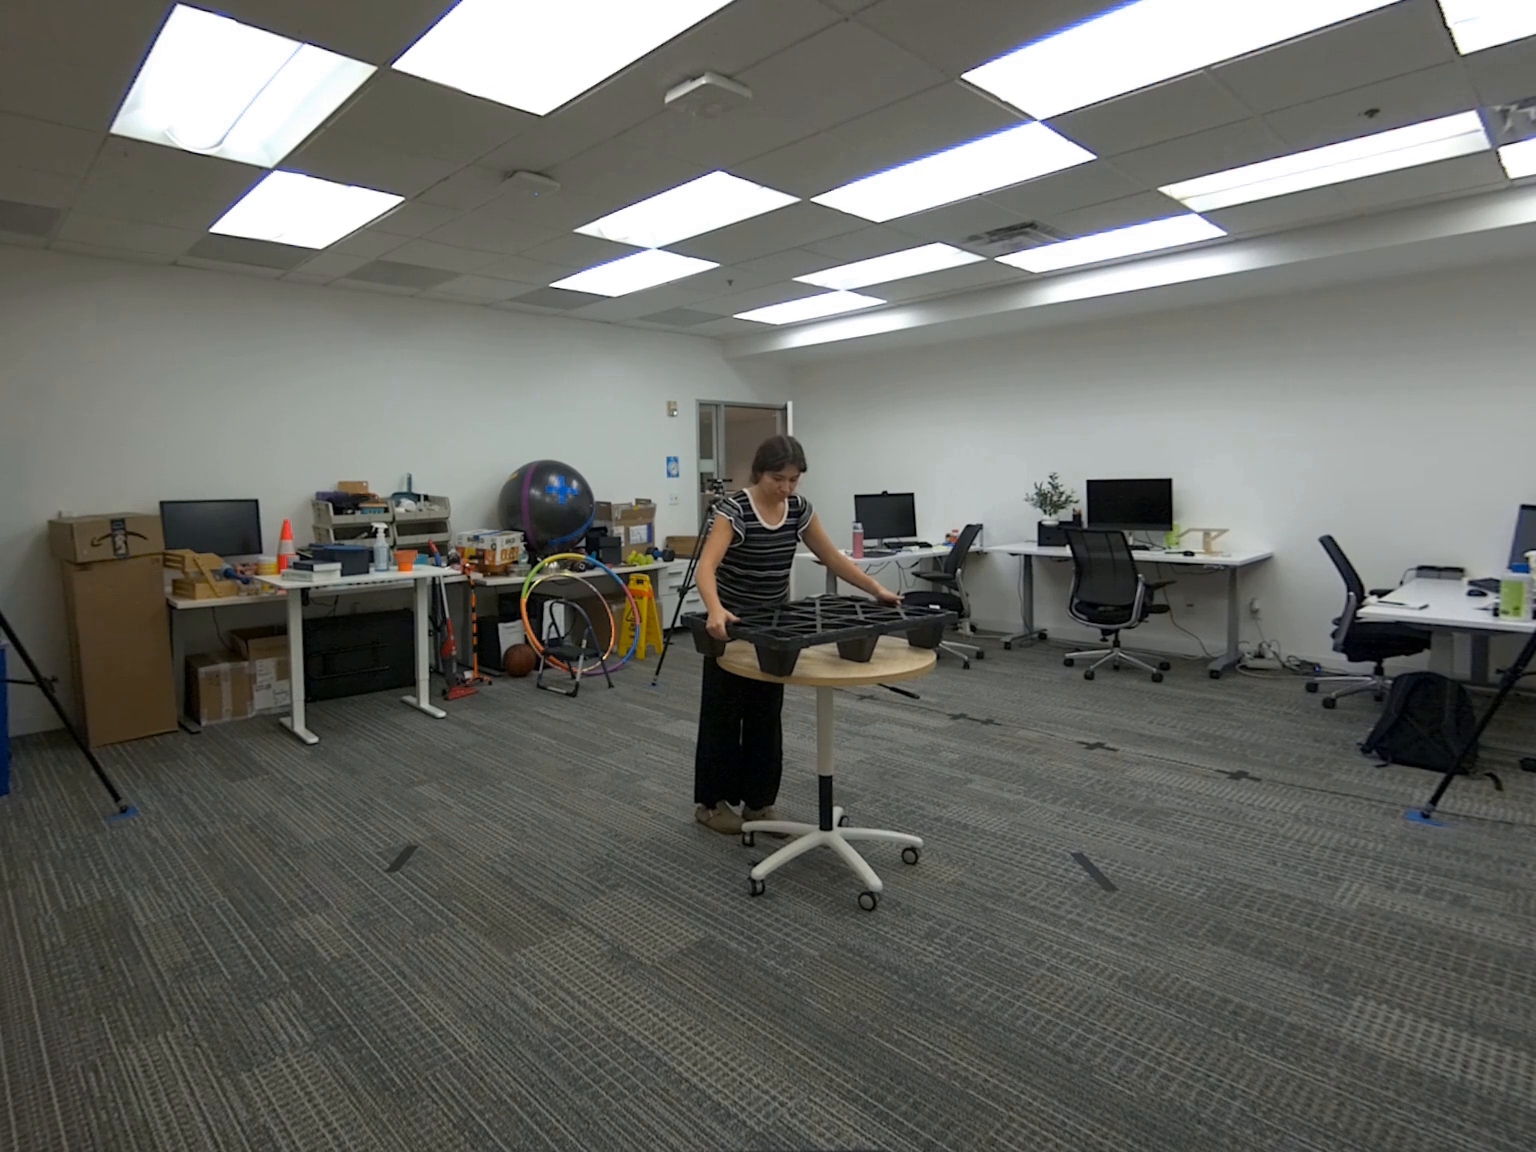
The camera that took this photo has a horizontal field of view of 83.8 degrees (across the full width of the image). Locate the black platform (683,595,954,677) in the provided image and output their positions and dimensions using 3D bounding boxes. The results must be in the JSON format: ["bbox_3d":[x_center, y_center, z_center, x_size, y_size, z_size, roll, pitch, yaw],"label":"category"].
[{"bbox_3d":[0.183,0.199,3.033,0.785,0.142,0.624,-6,9,-36],"label":"black platform"}]
